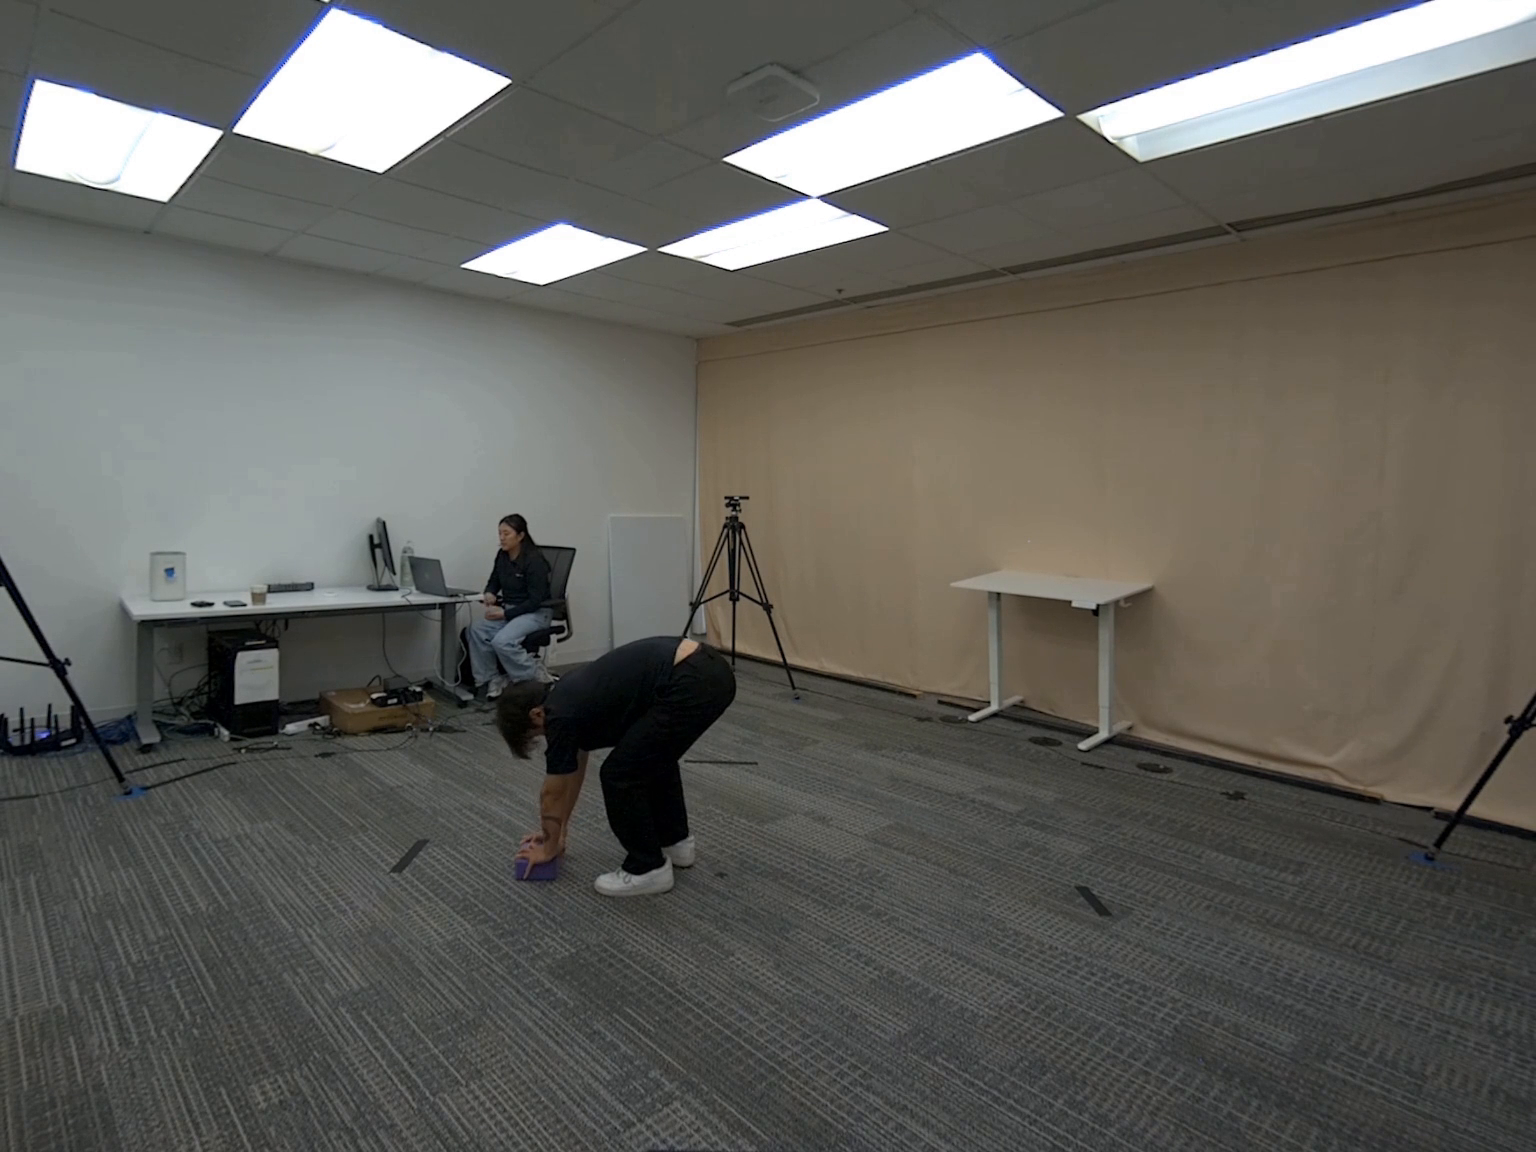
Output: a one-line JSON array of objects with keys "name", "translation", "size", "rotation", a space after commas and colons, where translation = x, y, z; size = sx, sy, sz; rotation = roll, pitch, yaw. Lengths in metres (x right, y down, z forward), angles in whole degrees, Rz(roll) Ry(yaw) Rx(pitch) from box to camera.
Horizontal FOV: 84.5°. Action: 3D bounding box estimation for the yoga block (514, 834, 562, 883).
[{"name": "yoga block", "translation": [-0.858, 1.047, 3.137], "size": [0.149, 0.076, 0.231], "rotation": [0, 7, -3]}]
